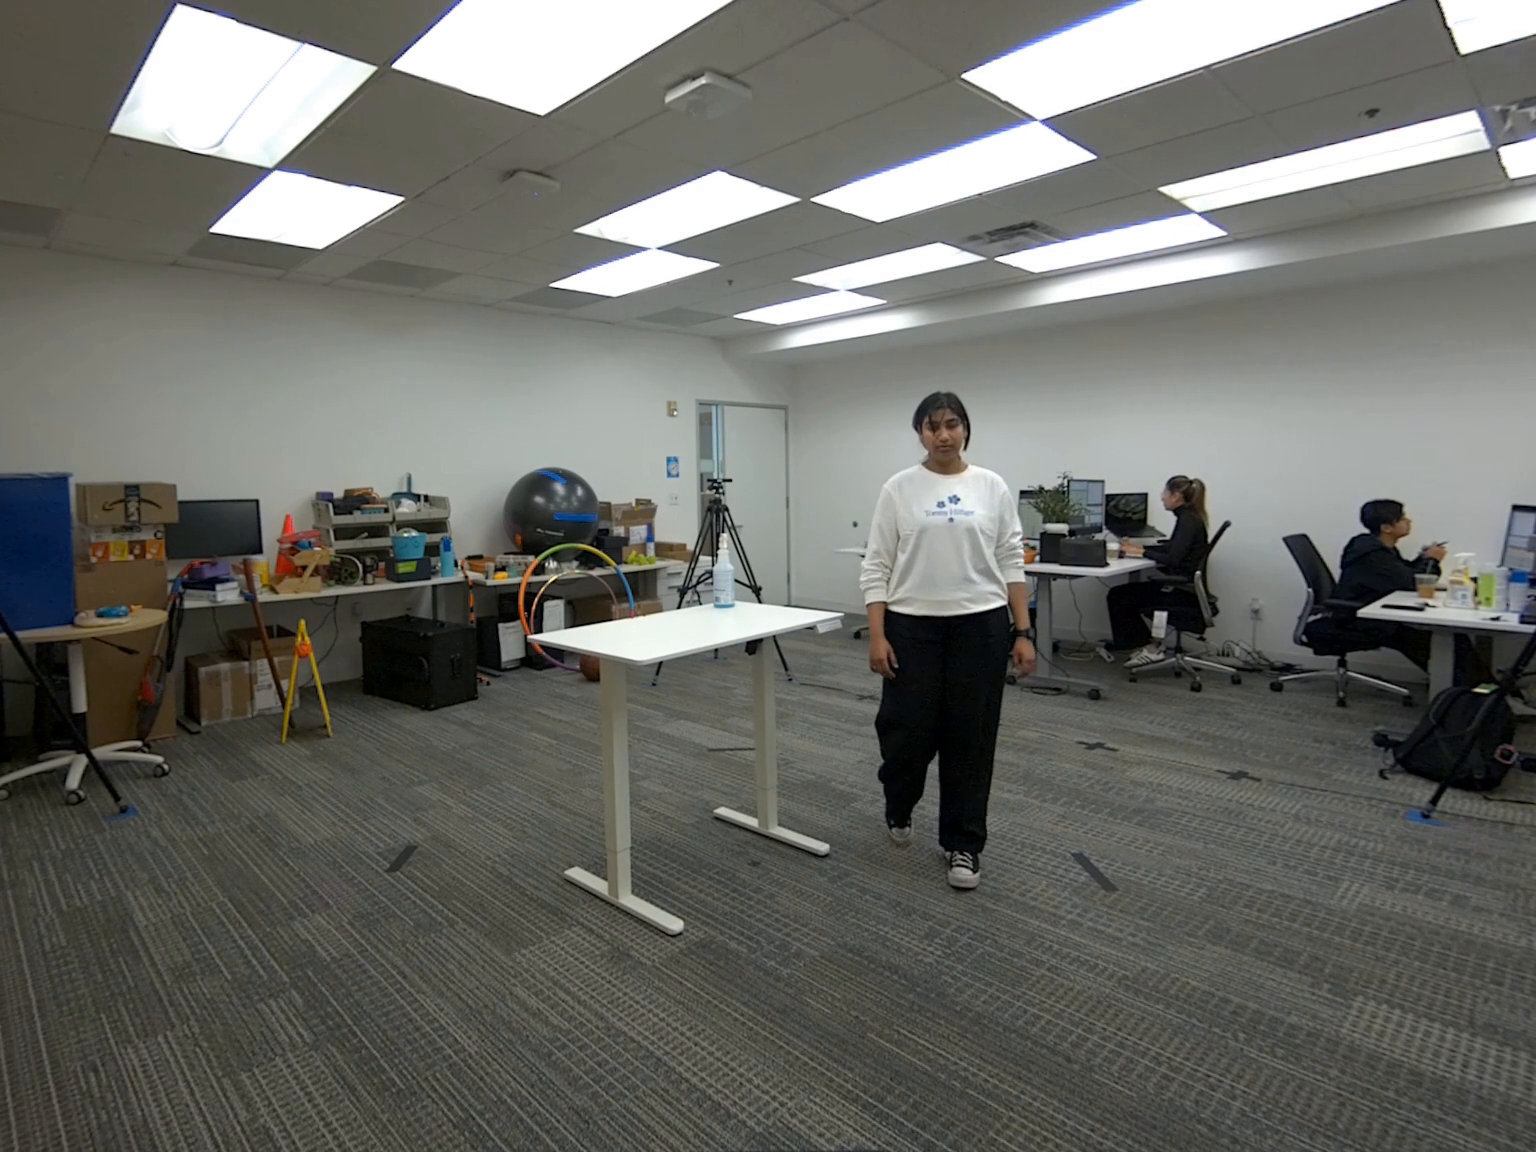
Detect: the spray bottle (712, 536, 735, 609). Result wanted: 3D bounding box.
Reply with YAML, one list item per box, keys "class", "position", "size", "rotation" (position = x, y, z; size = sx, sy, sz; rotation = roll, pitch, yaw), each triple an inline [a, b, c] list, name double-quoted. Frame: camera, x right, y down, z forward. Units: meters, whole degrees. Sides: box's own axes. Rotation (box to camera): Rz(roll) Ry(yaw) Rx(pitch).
- class: "spray bottle"
  position: [-0.181, -0.023, 3.433]
  size: [0.088, 0.296, 0.089]
  rotation: [1, 4, 14]
